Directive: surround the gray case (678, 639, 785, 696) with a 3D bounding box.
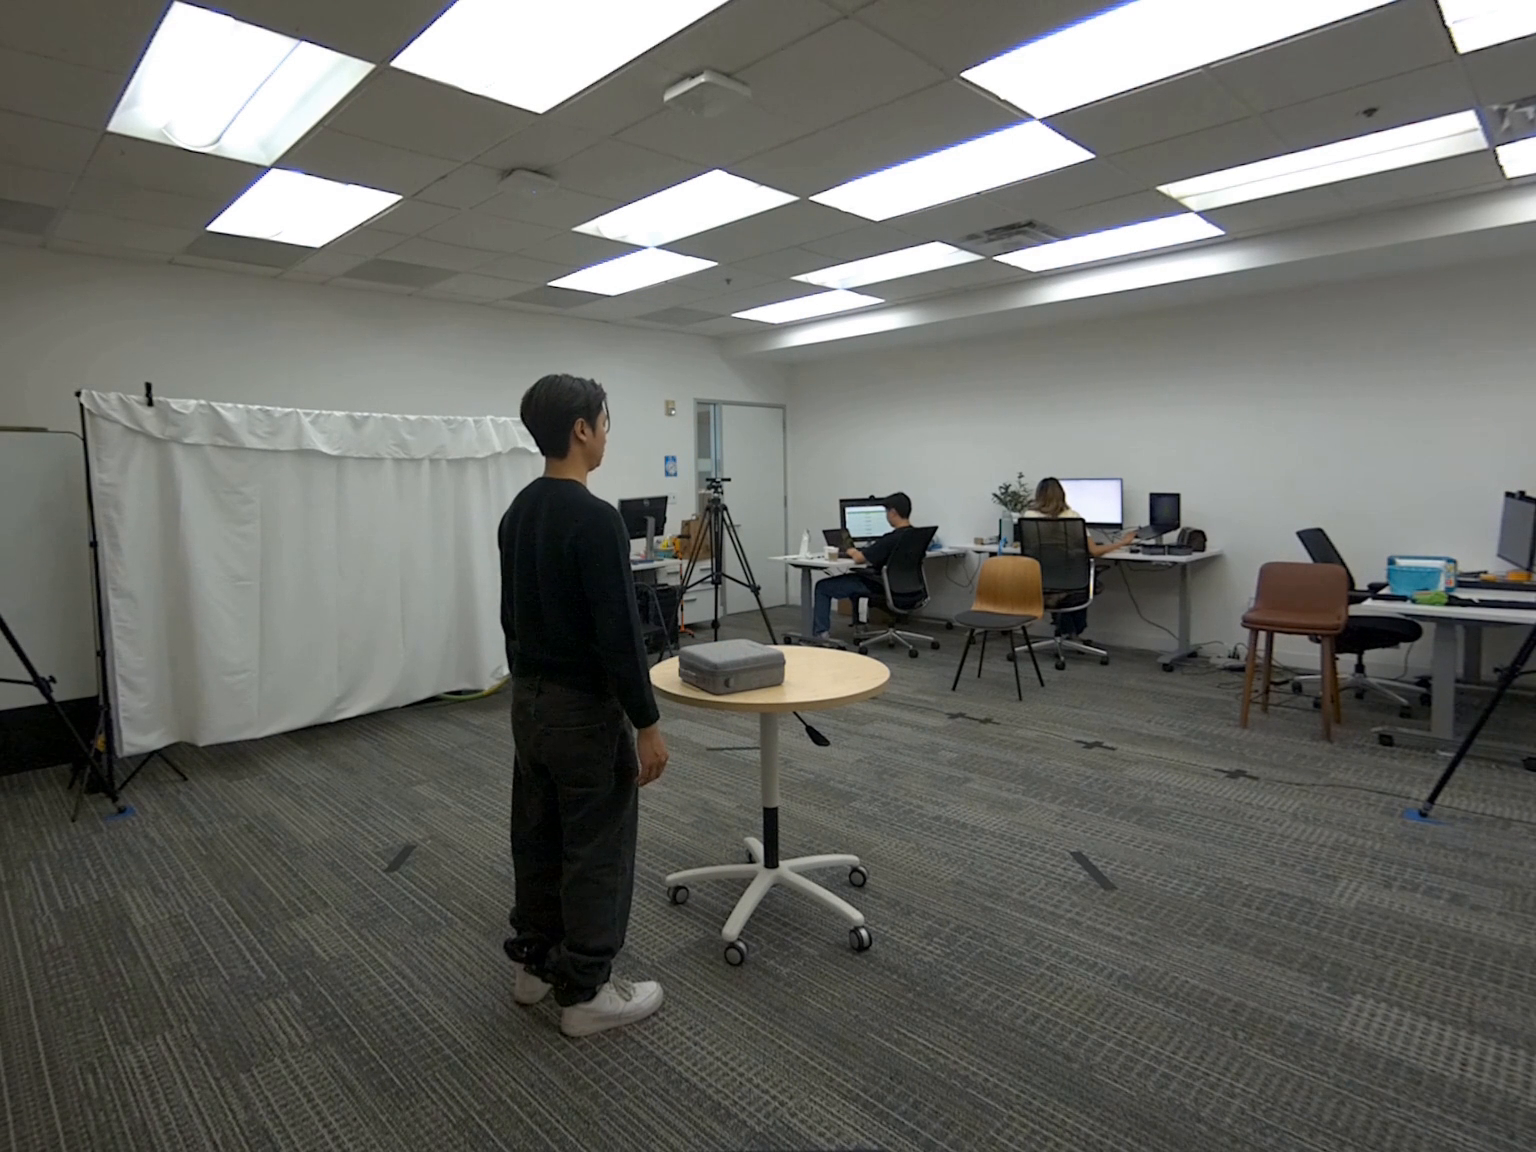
[{"bbox_3d":[-0.104,0.270,2.580,0.255,0.103,0.265,-6,10,-30],"label":"gray case"}]
